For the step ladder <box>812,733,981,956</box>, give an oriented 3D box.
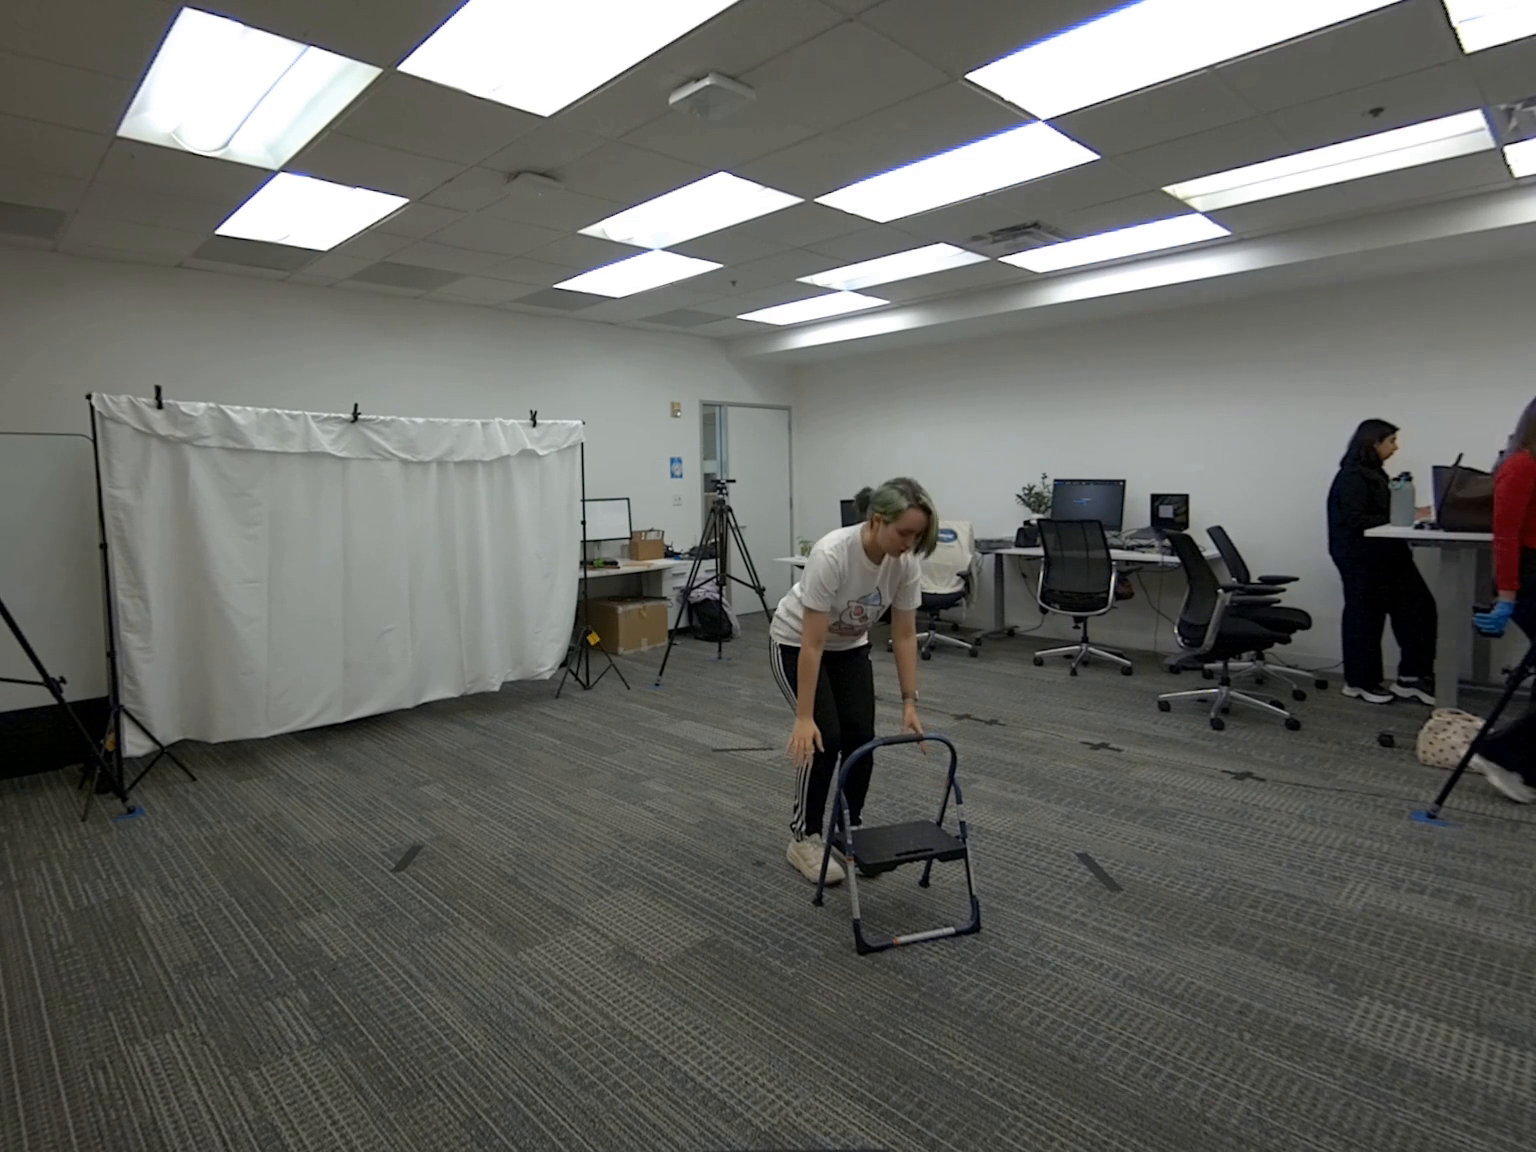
[{"bbox_3d":[0.403,0.787,2.696,0.423,0.604,0.357,-3,5,-19],"label":"step ladder"}]
